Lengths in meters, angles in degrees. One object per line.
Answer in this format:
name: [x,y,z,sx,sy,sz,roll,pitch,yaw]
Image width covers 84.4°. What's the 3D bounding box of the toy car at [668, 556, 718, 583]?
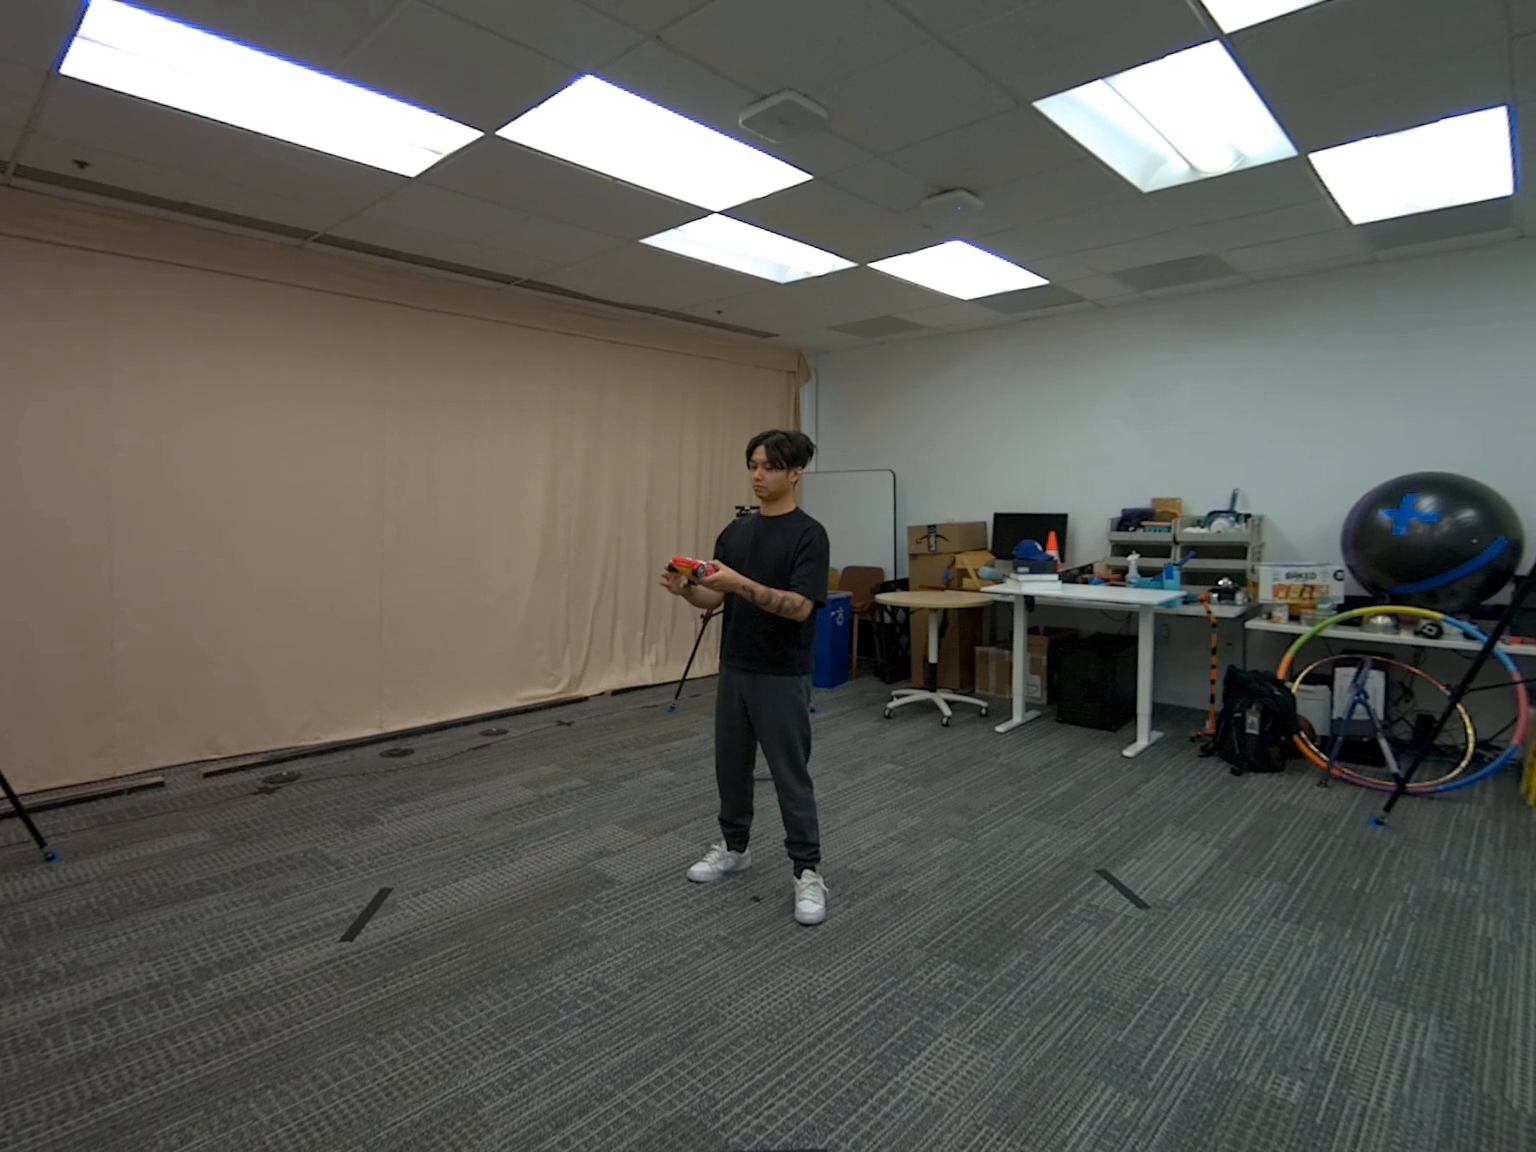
toy car: [-0.216,-0.006,2.717,0.134,0.083,0.247,10,-1,26]
